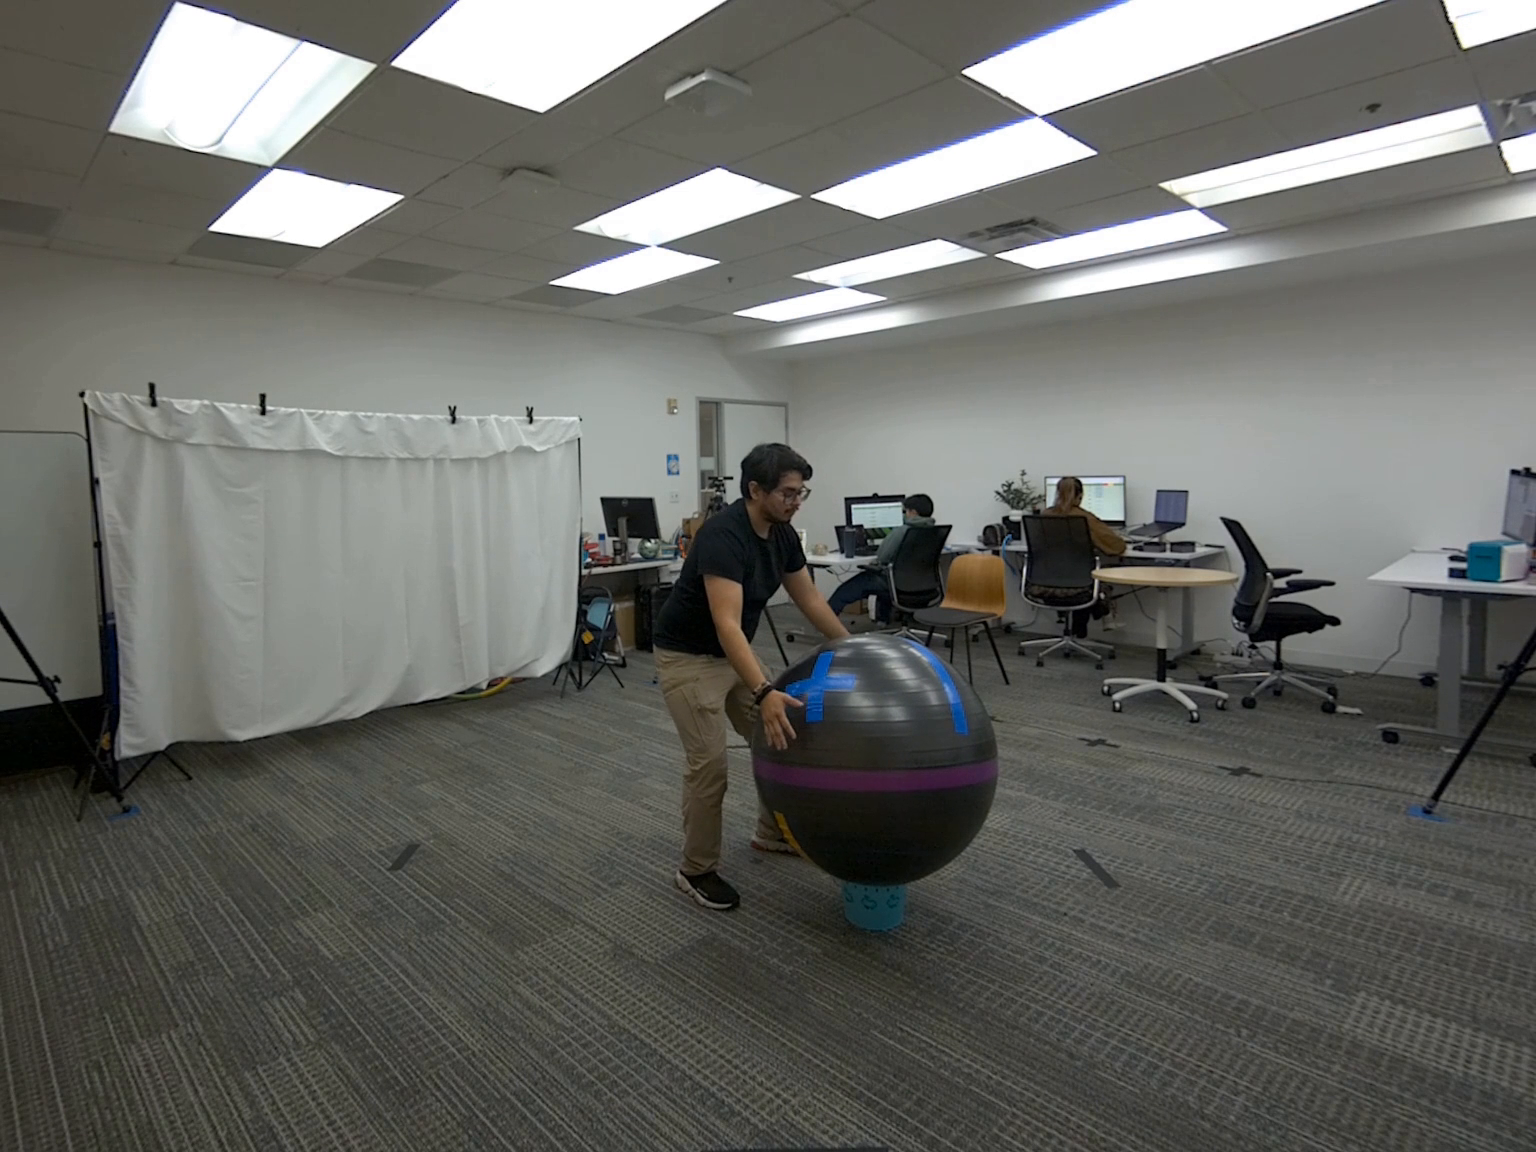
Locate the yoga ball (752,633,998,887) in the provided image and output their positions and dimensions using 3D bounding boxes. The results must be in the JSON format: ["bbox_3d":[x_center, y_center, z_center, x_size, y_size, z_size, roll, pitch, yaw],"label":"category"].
[{"bbox_3d":[0.340,0.570,2.675,0.757,0.755,0.762,-1,5,-2],"label":"yoga ball"}]
